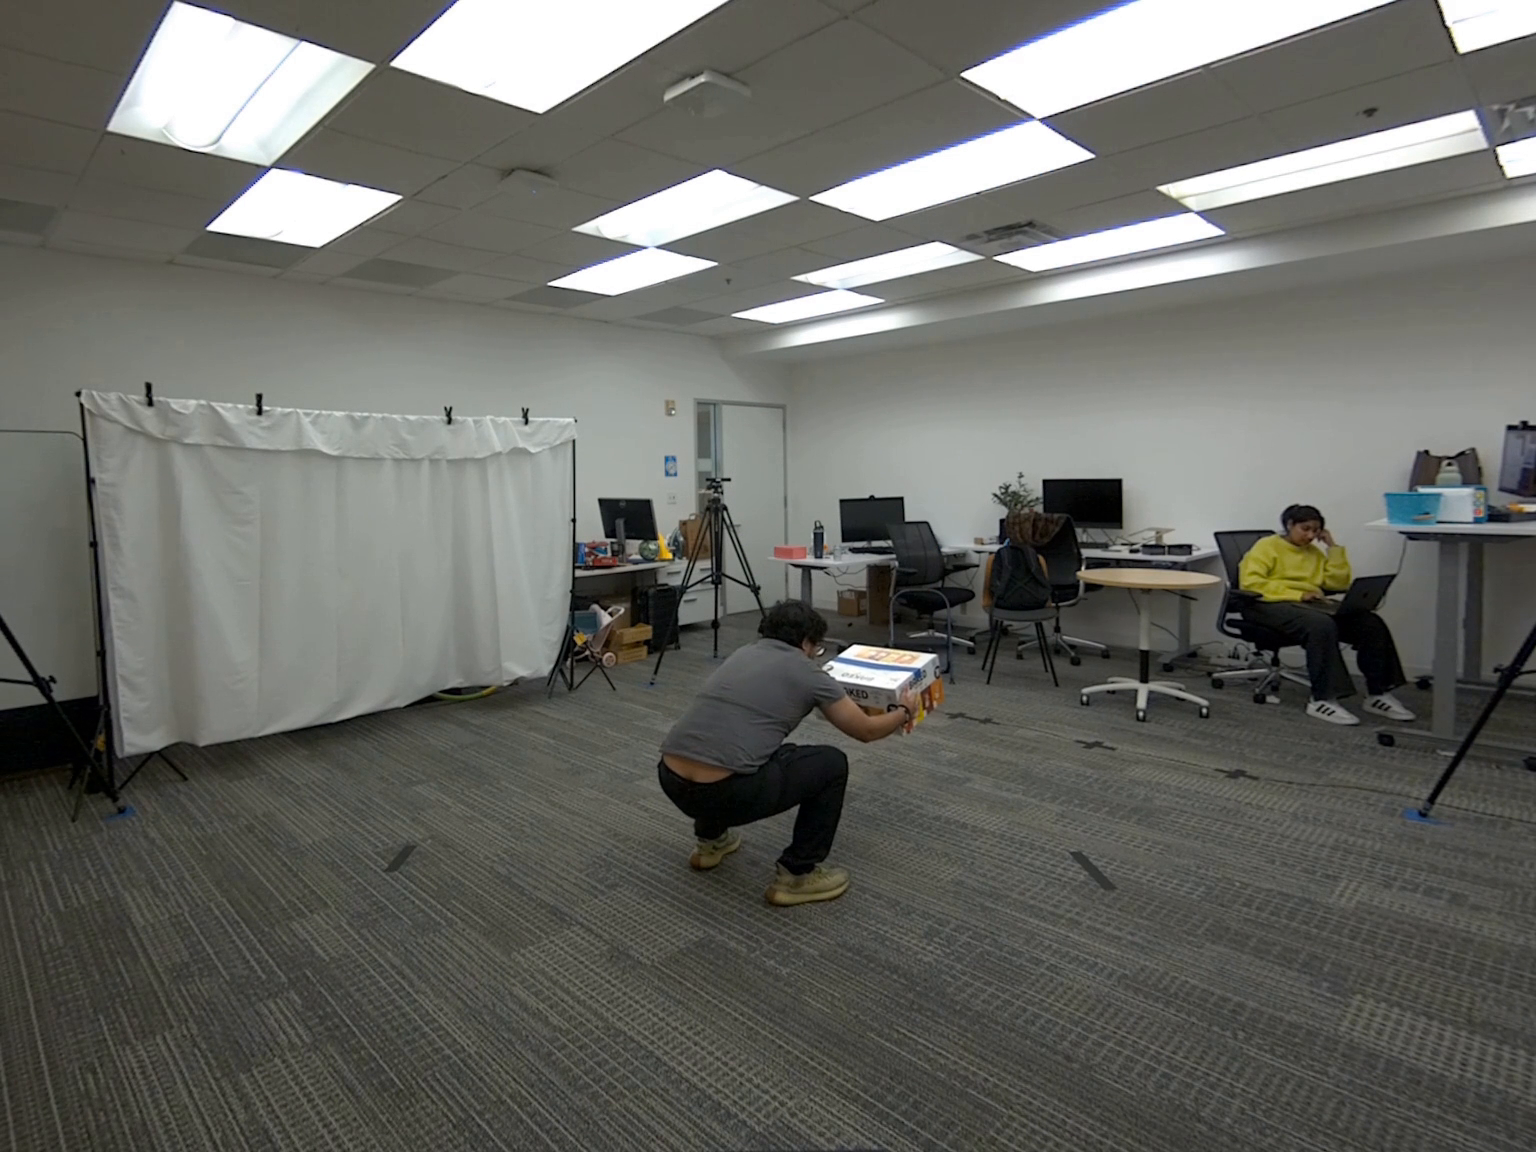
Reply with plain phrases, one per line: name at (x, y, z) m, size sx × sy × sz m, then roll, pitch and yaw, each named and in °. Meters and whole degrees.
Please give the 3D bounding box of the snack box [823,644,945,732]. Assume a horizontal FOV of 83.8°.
snack box at (0.446, 0.457, 3.495) m, size 0.417 × 0.203 × 0.335 m, roll 3°, pitch 19°, yaw 40°
